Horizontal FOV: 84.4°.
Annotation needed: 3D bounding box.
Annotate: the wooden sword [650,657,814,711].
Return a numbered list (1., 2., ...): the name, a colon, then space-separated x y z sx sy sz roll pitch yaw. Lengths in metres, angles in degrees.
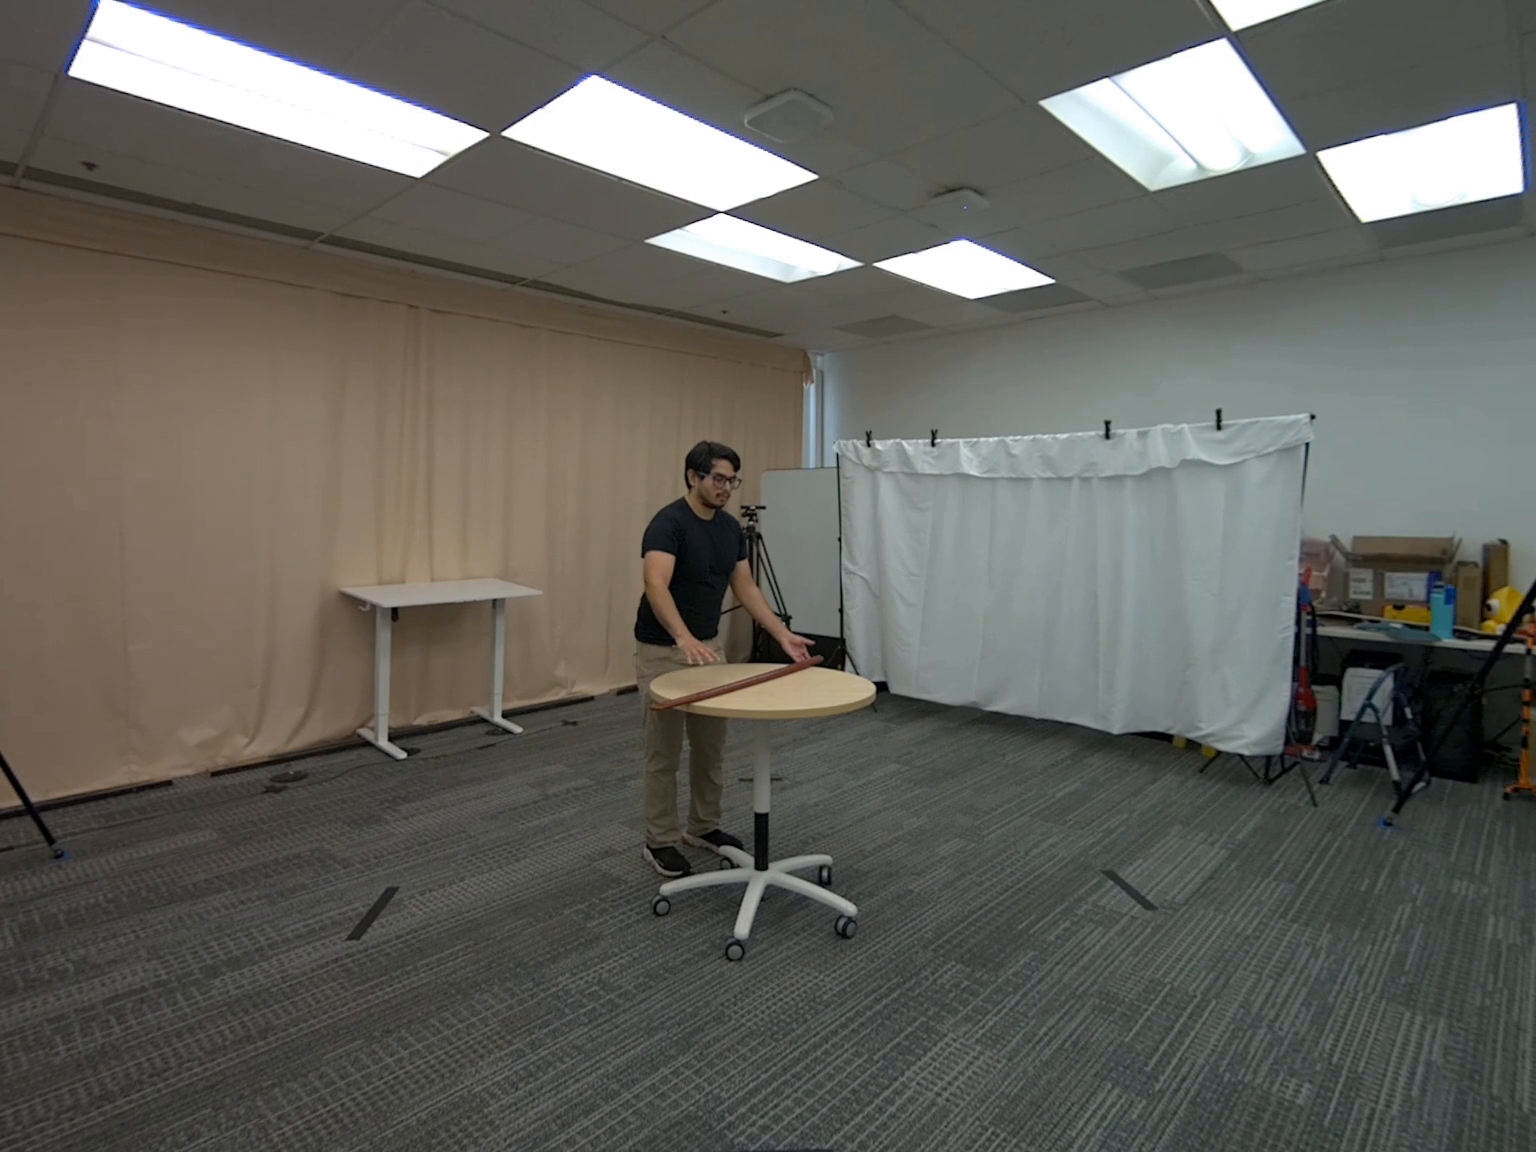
1. wooden sword: -0.083 0.347 2.863 0.024 0.051 1.000 -8 1 26
